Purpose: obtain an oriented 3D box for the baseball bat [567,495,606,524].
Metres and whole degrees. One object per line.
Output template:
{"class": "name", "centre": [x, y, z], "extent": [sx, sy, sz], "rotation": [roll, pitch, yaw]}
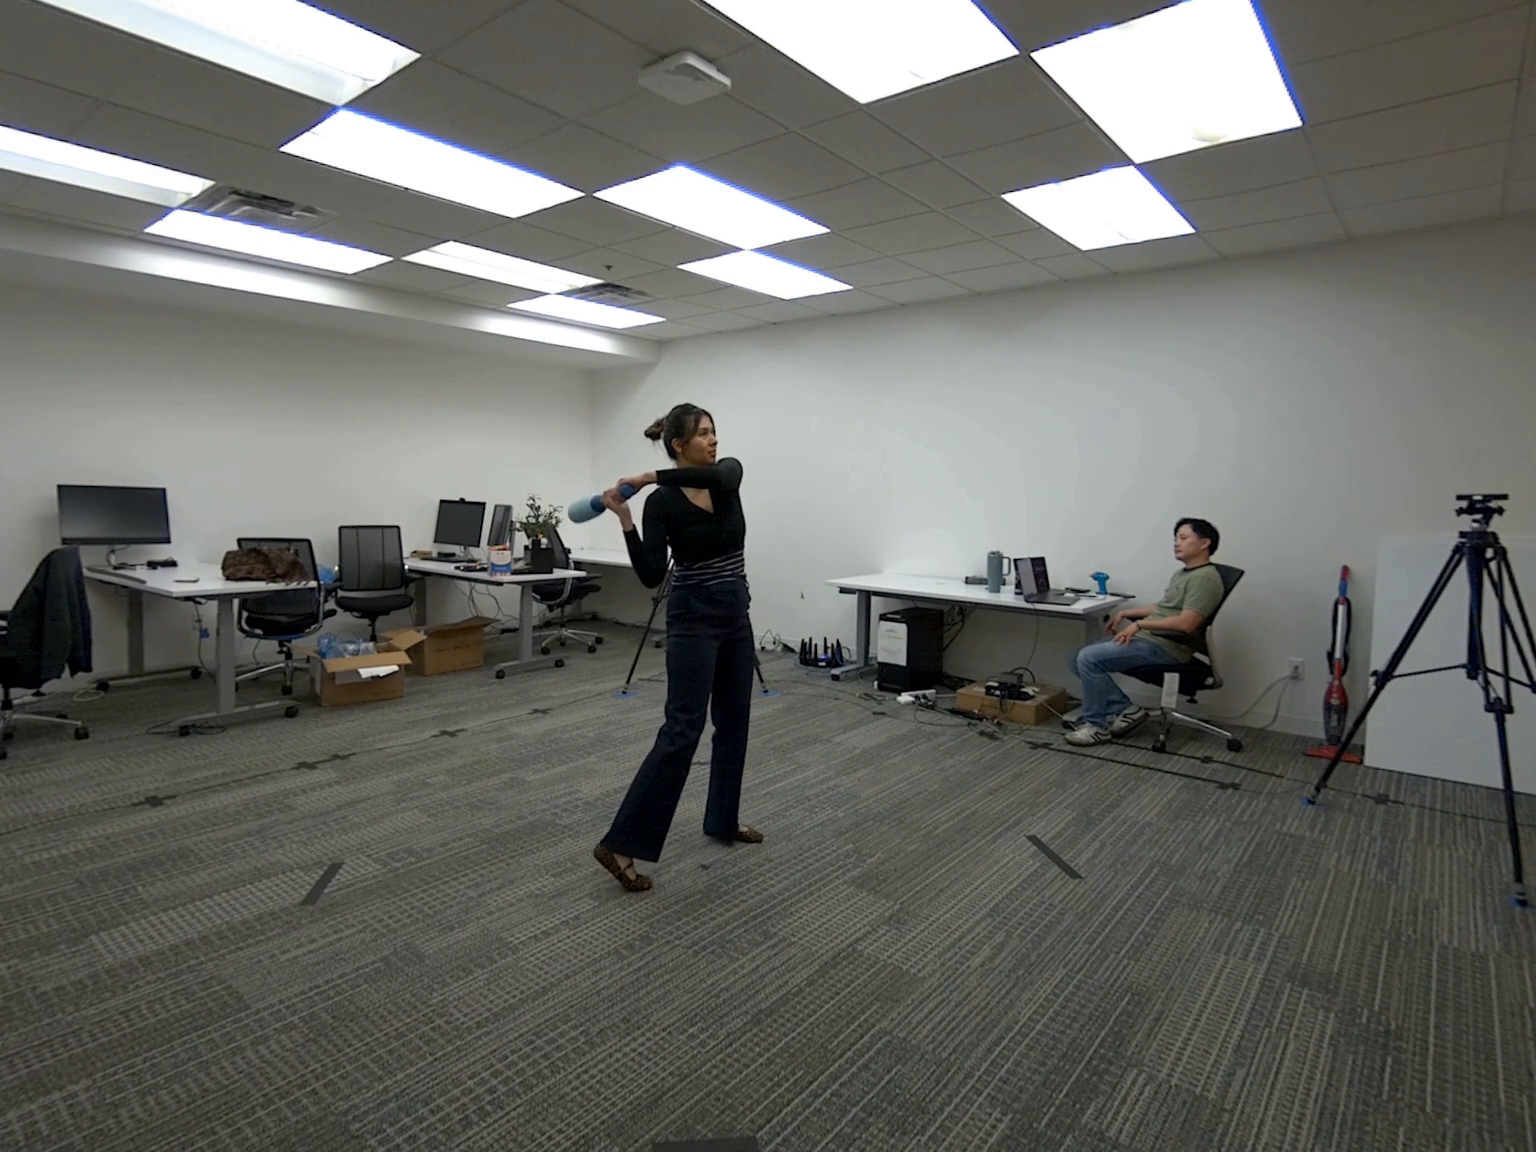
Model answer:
{"class": "baseball bat", "centre": [-0.627, -0.262, 3.036], "extent": [0.087, 0.089, 0.555], "rotation": [-2, -3, -31]}
